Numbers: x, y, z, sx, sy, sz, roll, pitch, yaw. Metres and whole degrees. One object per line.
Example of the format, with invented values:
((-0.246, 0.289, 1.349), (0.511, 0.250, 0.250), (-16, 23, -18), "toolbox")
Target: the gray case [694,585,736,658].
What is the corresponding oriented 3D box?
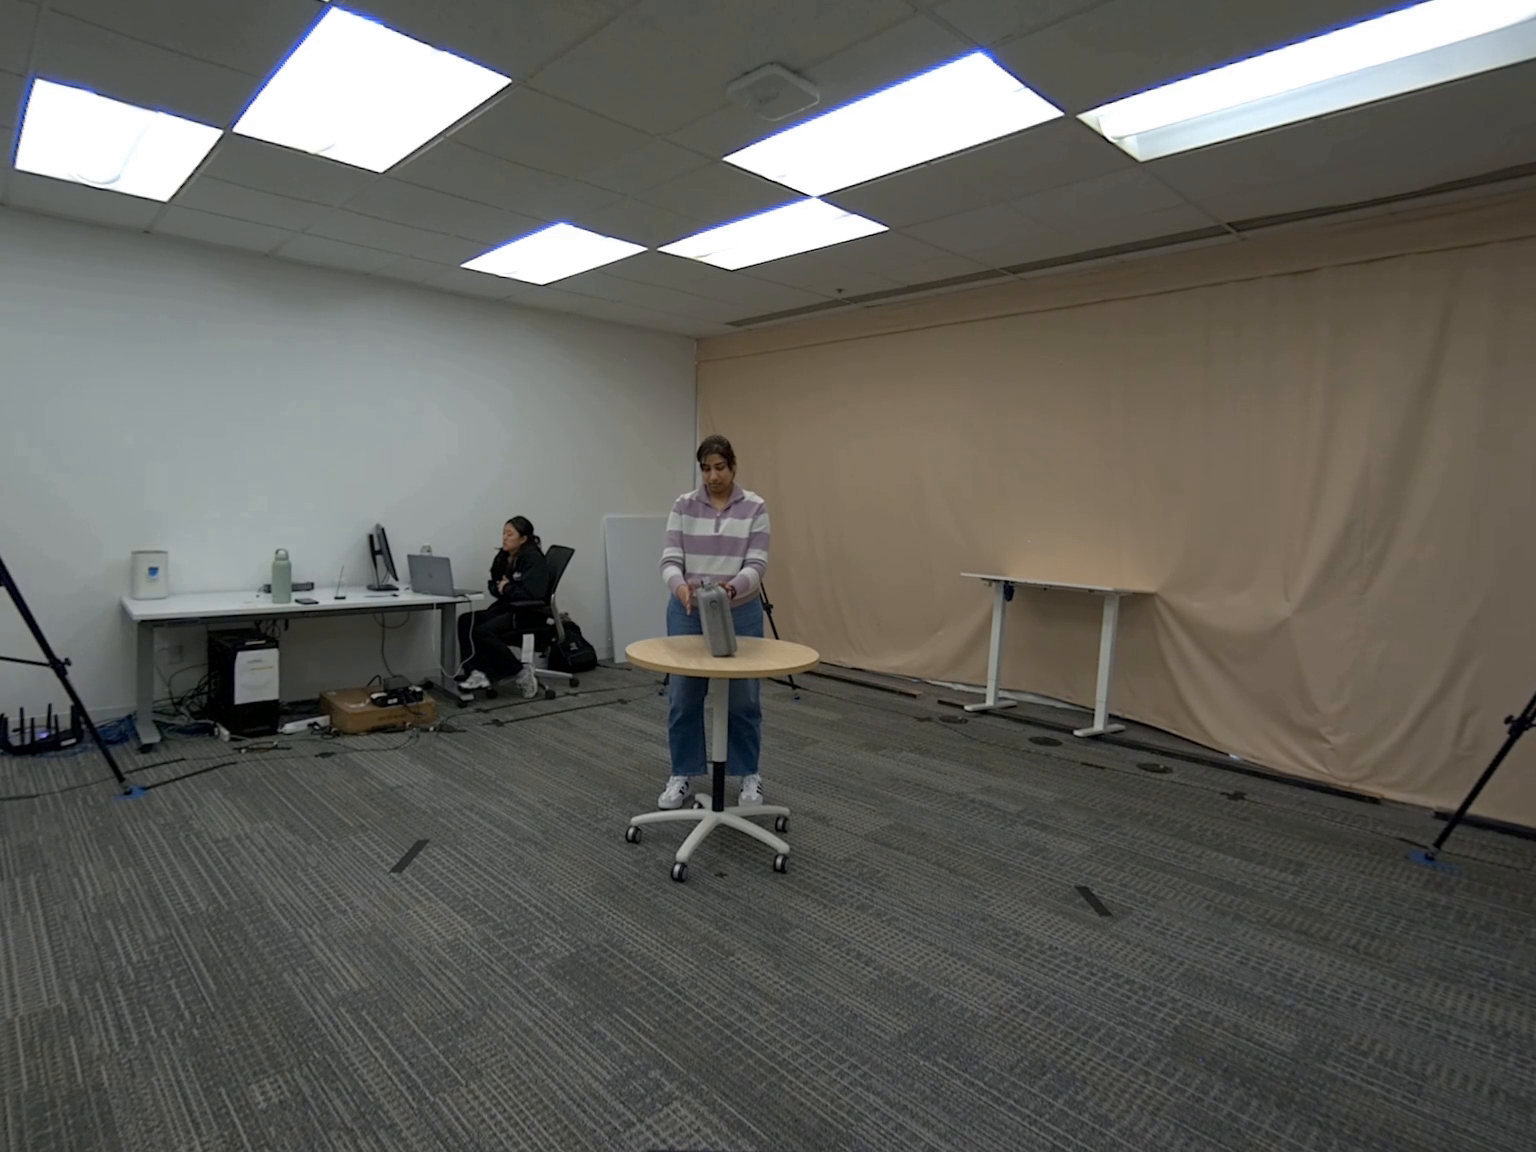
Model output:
((-0.213, 0.171, 3.302), (0.104, 0.260, 0.259), (-9, 5, -6), "gray case")
